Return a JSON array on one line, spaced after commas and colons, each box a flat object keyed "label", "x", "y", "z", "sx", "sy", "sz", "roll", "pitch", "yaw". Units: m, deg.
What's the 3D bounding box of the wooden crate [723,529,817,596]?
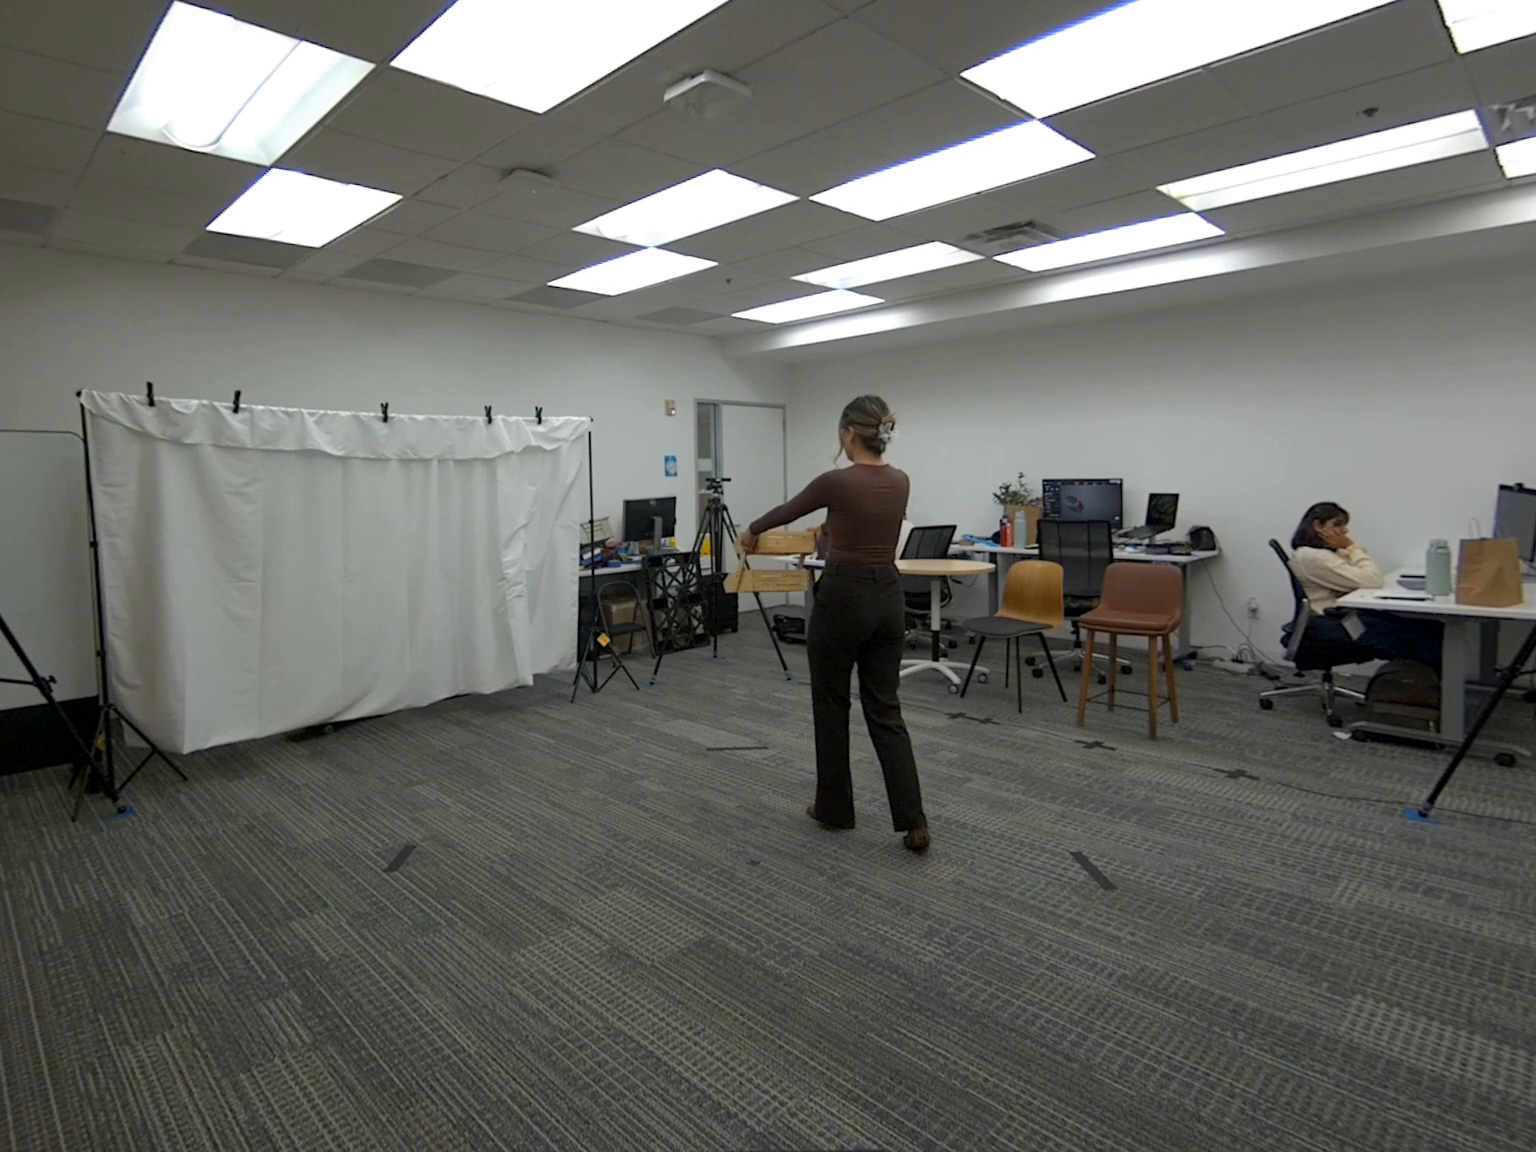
[{"label": "wooden crate", "x": 0.007, "y": -0.067, "z": 3.849, "sx": 0.316, "sy": 0.274, "sz": 0.309, "roll": 0, "pitch": -3, "yaw": -32}]
